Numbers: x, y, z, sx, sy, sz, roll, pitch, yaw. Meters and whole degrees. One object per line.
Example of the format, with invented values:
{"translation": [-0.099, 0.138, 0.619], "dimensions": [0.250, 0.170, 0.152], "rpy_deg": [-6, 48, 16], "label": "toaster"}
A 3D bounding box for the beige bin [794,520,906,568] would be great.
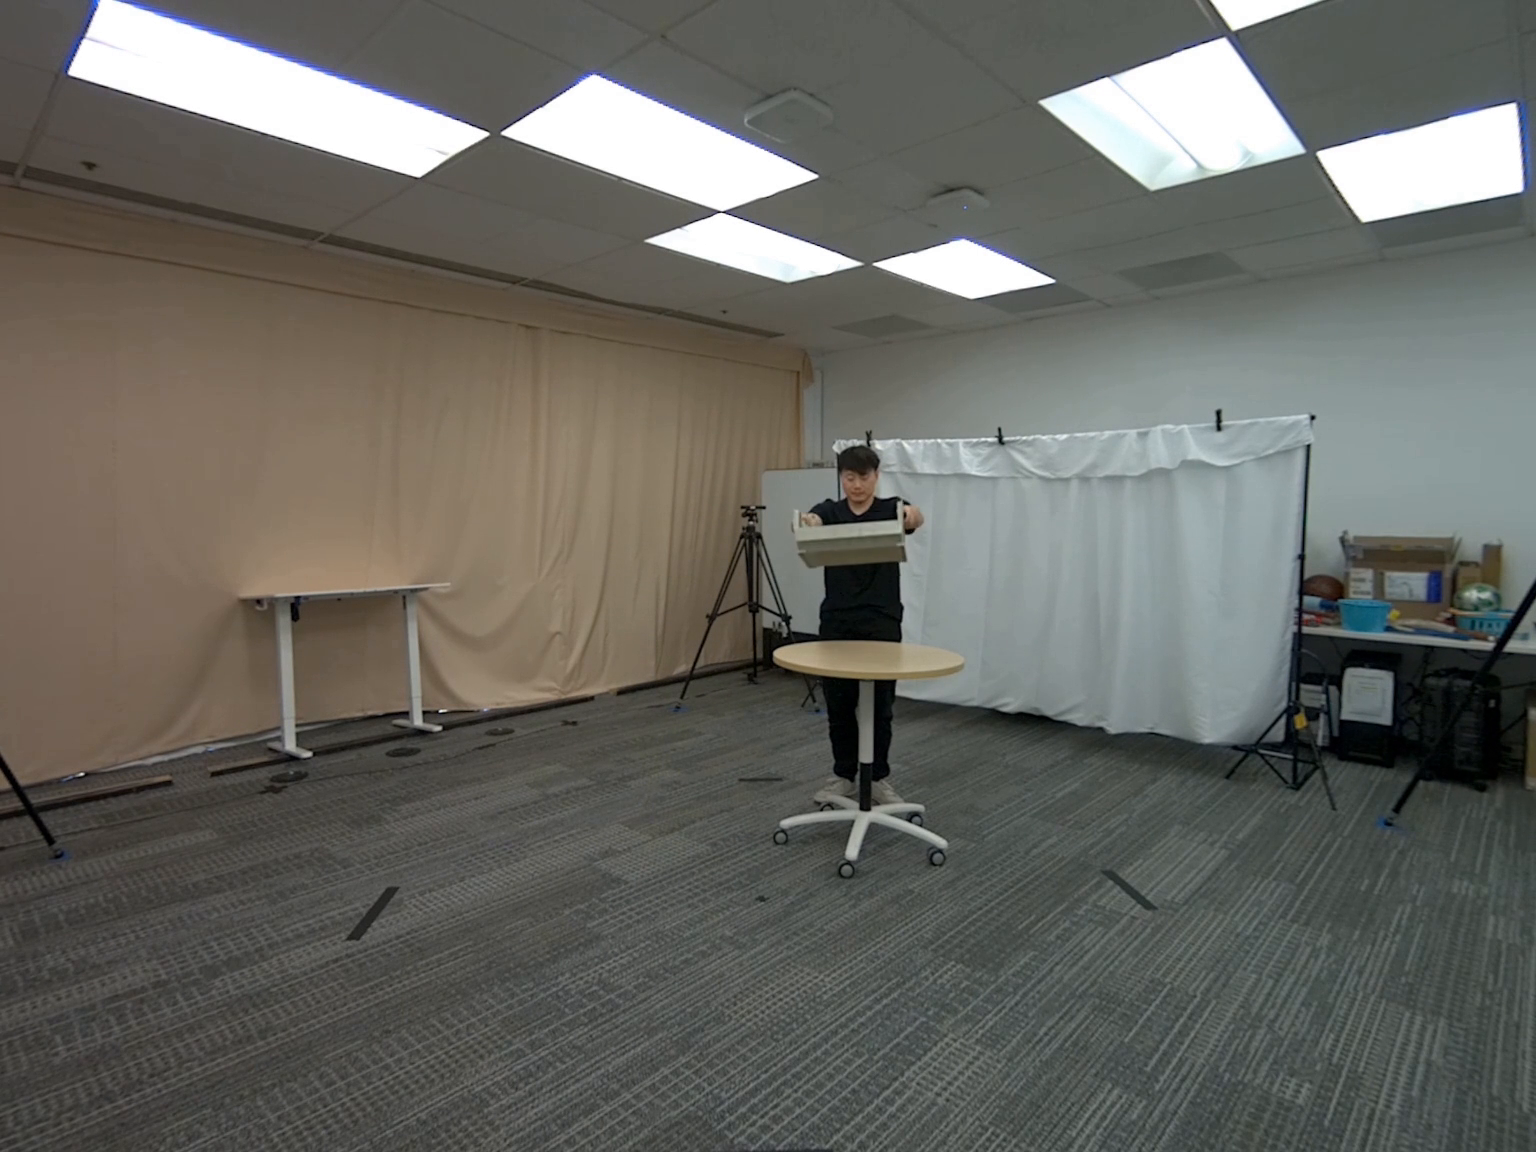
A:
{"translation": [0.344, -0.161, 3.408], "dimensions": [0.429, 0.190, 0.369], "rpy_deg": [-3, -12, 13], "label": "beige bin"}
